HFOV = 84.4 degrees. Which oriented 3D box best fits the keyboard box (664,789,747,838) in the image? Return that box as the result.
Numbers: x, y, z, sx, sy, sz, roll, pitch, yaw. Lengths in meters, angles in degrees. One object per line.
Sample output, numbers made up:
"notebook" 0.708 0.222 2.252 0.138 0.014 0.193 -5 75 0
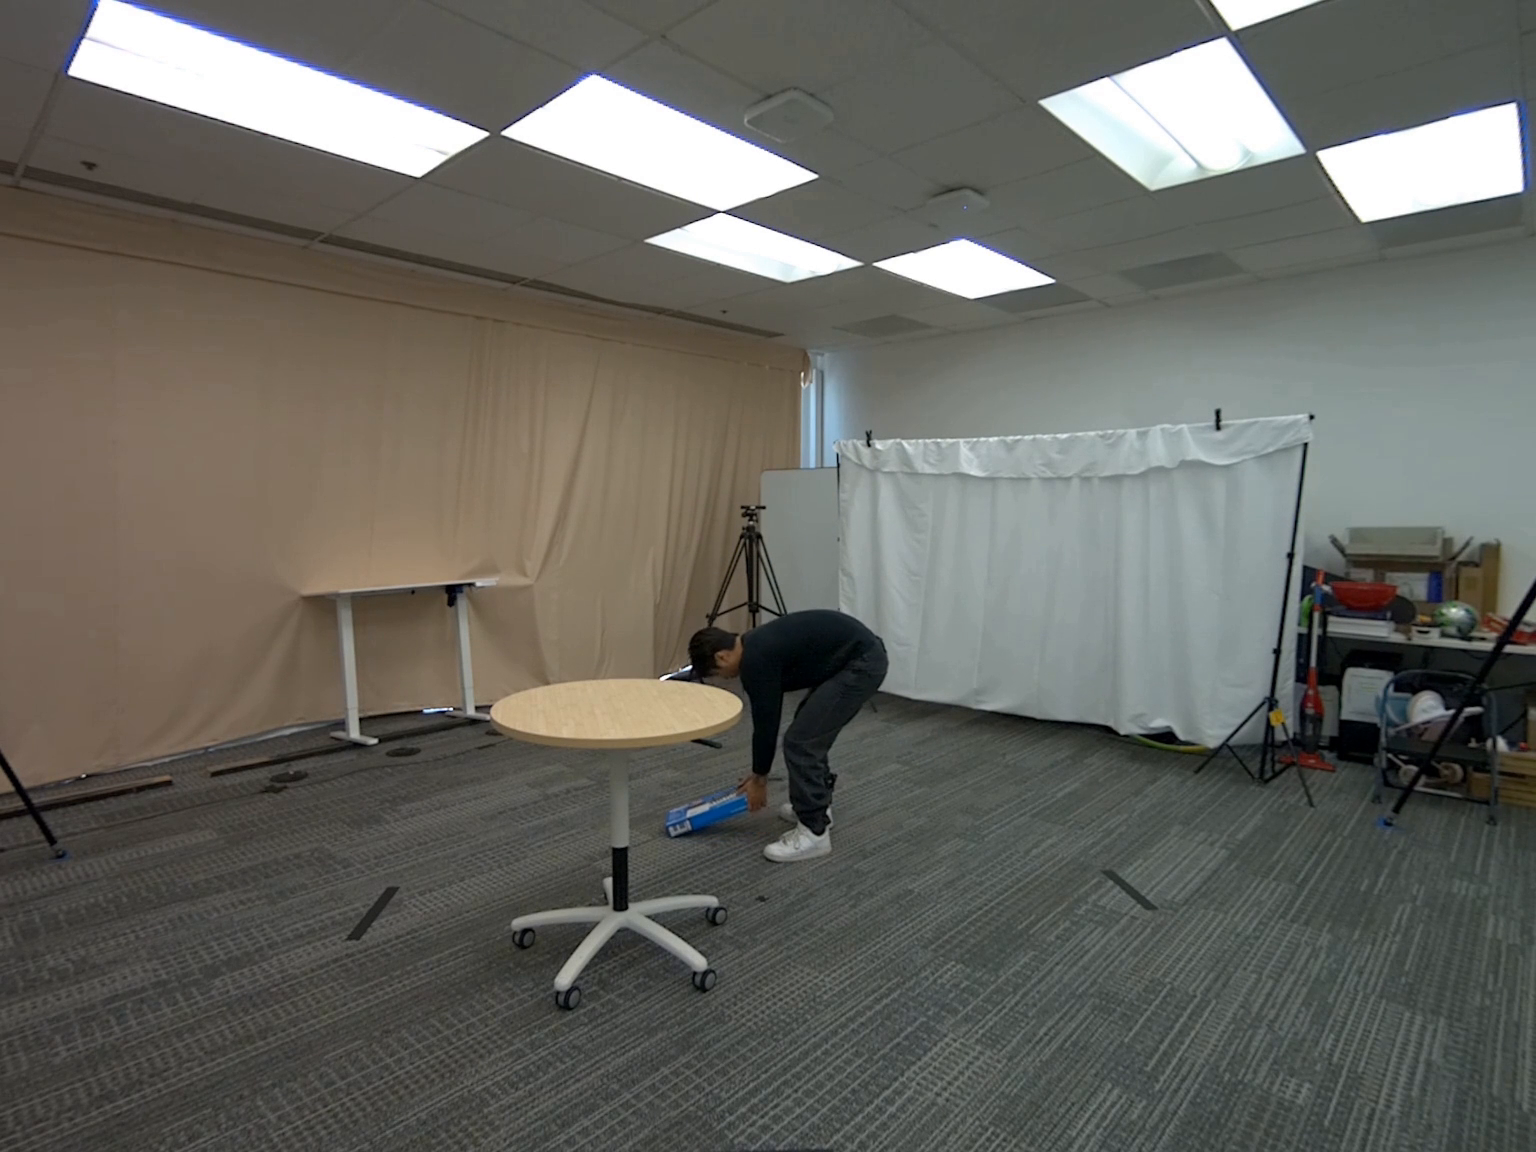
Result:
"keyboard box" -0.224 0.994 3.611 0.437 0.059 0.177 -20 6 0
